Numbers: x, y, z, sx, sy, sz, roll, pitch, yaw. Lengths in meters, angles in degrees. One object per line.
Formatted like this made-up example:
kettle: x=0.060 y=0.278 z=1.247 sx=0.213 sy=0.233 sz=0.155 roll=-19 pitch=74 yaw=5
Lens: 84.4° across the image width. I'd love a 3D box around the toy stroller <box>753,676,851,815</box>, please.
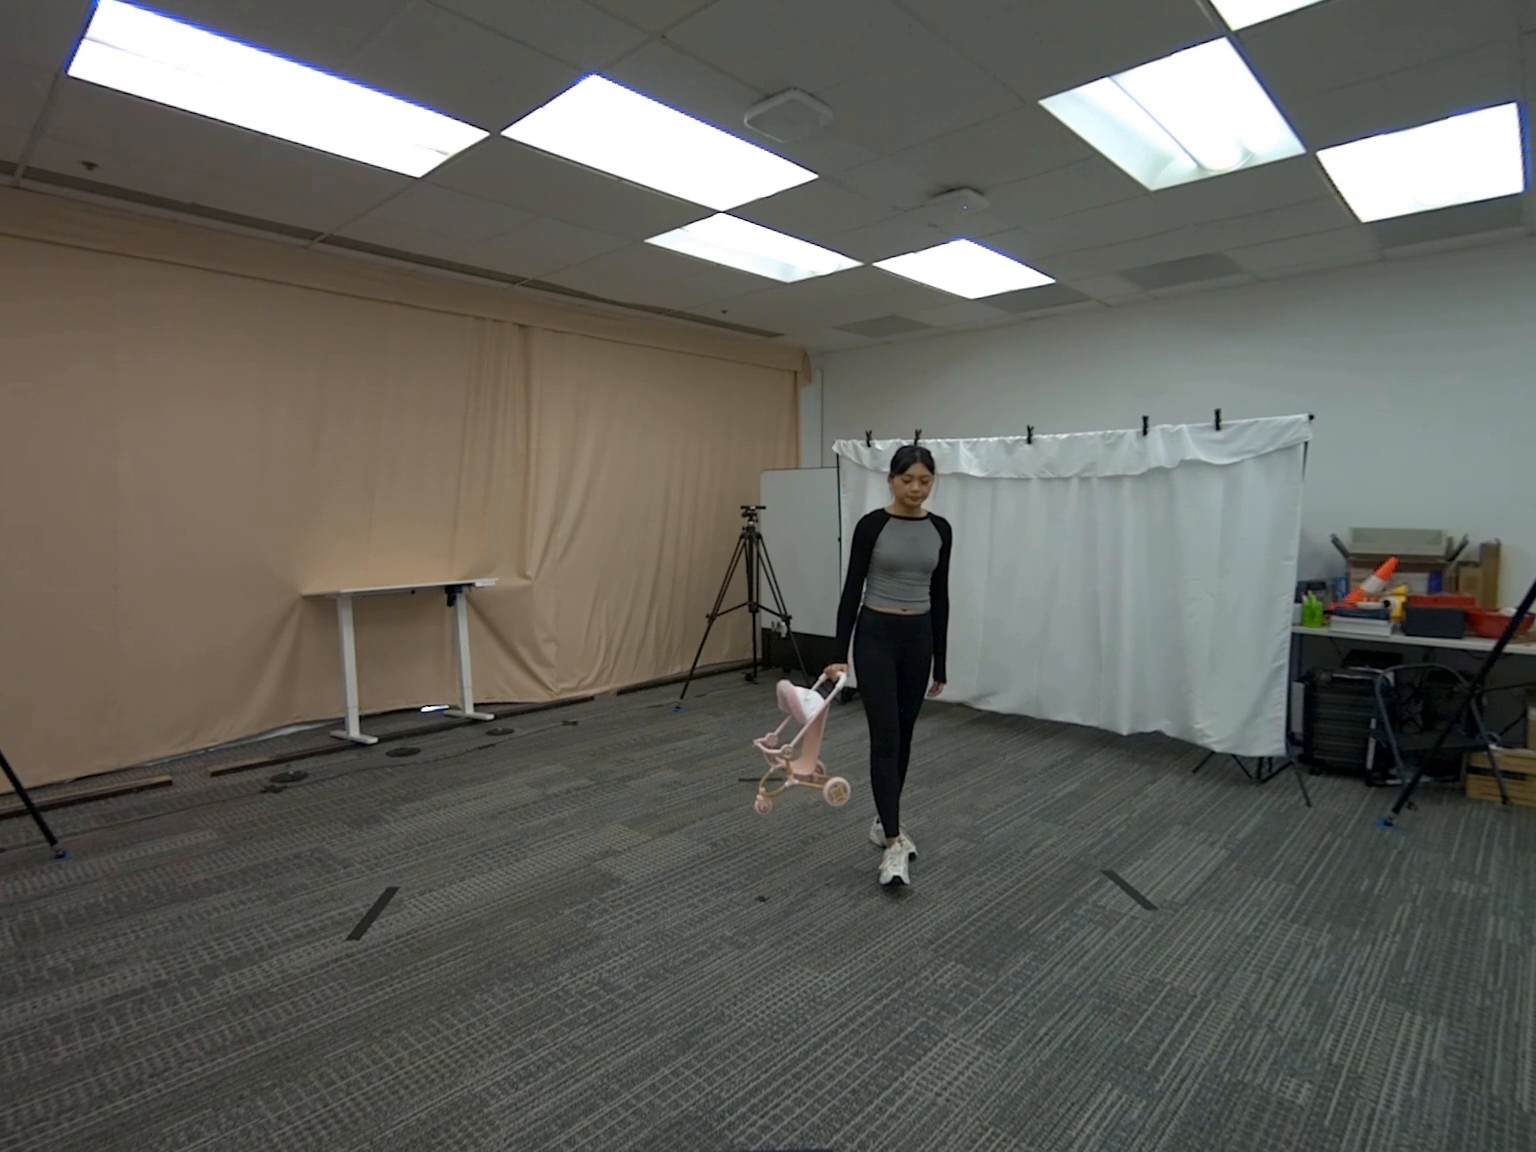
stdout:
toy stroller: x=0.114 y=0.628 z=3.170 sx=0.338 sy=0.534 sz=0.285 roll=1 pitch=2 yaw=-11
